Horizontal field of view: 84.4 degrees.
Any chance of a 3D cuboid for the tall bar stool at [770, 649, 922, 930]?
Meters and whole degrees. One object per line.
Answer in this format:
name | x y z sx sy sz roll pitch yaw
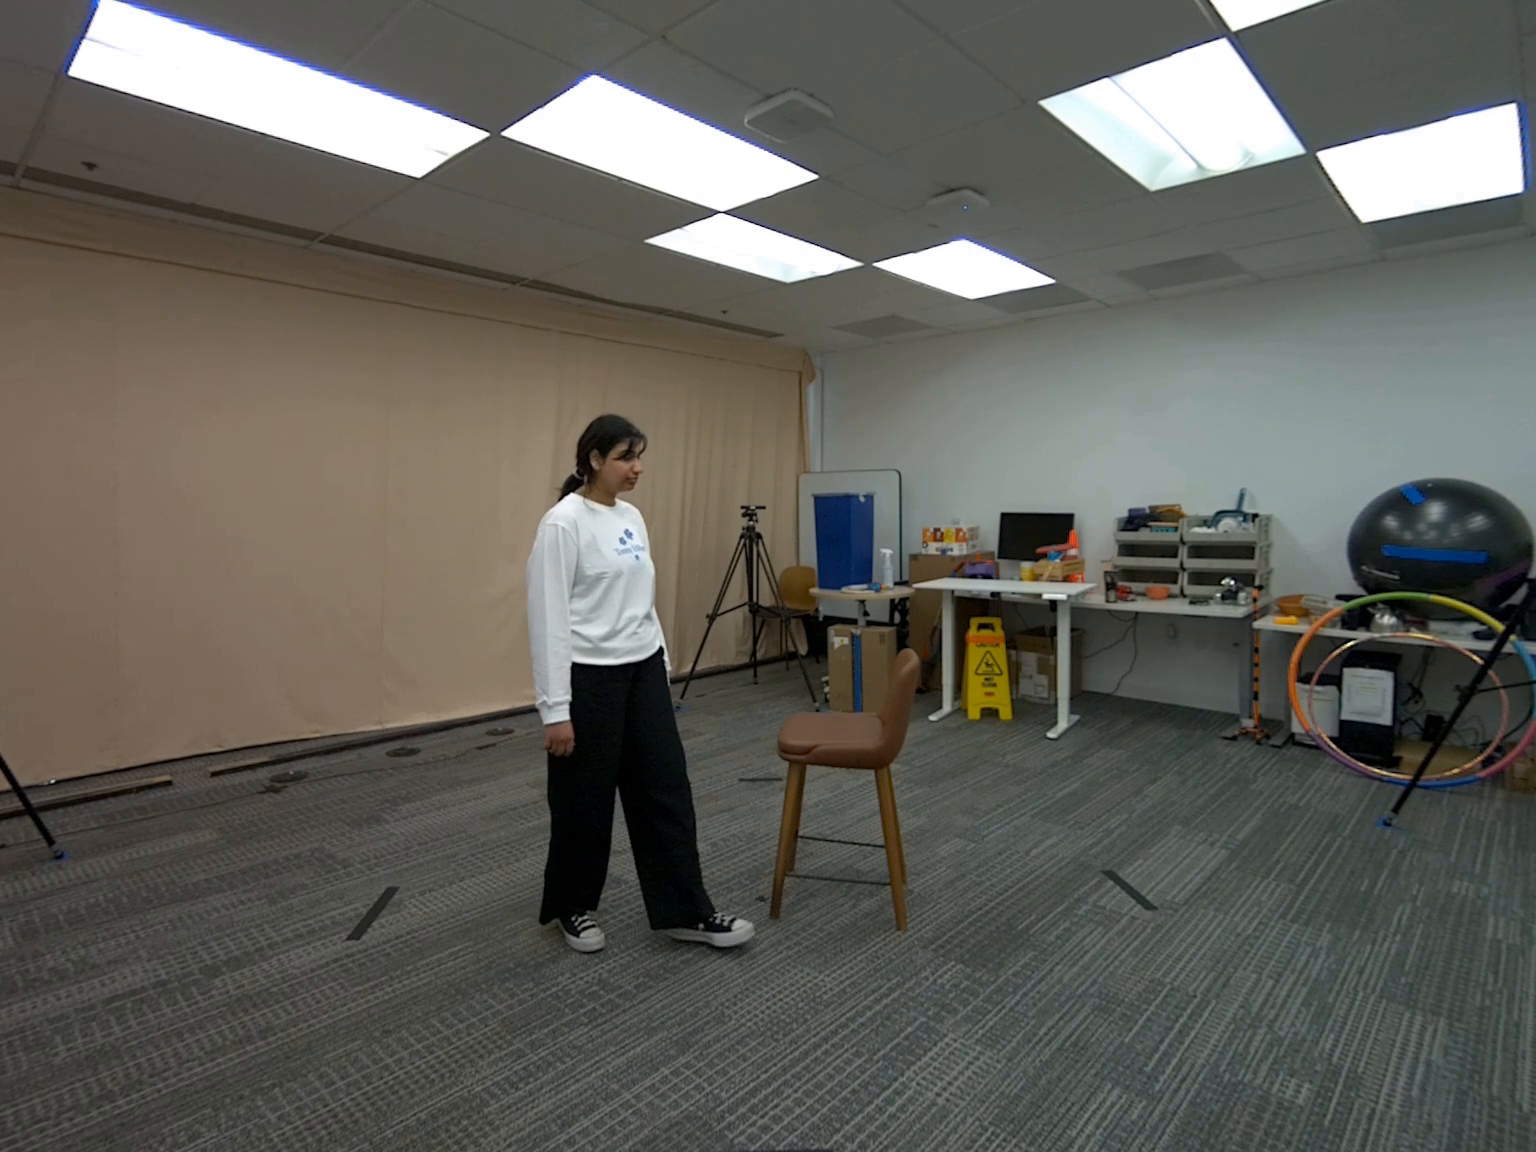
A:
tall bar stool | 0.272 0.708 2.962 0.474 0.888 0.451 3 4 12
